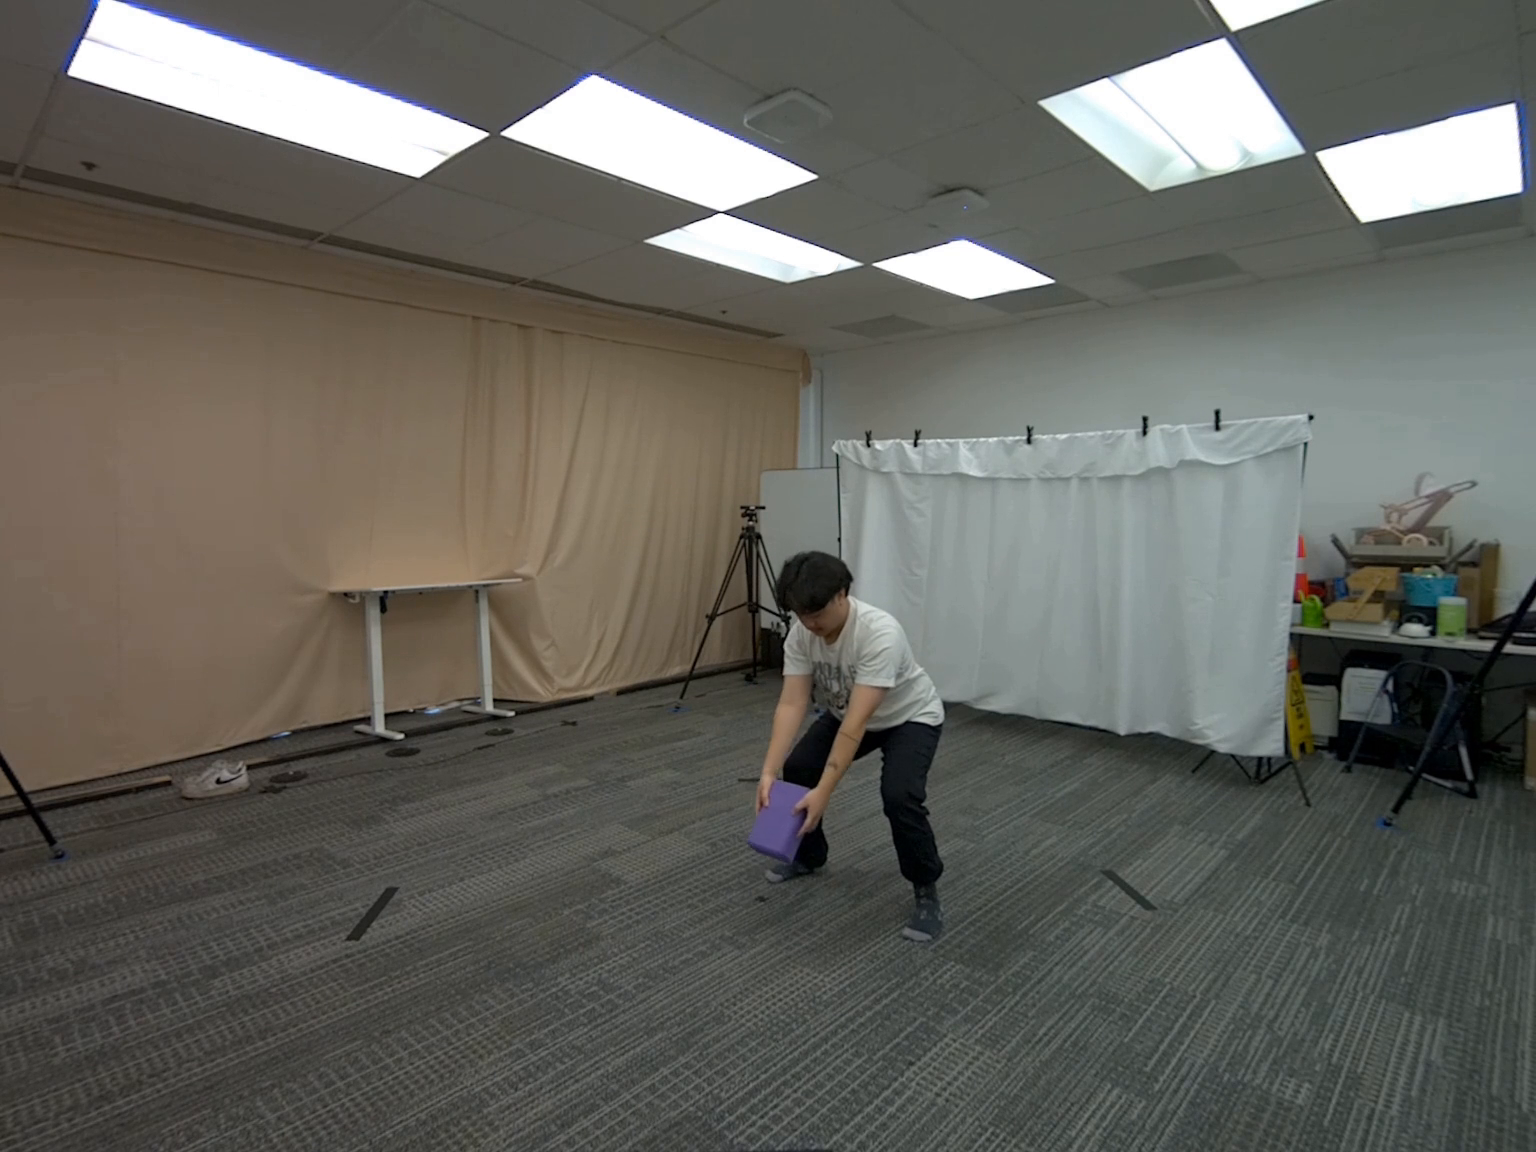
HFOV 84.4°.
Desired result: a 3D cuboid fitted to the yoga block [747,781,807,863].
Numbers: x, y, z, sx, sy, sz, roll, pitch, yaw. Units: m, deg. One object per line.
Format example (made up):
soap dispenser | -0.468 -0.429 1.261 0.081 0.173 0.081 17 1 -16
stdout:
yoga block | 0.051 0.777 2.694 0.154 0.229 0.074 1 -38 42
